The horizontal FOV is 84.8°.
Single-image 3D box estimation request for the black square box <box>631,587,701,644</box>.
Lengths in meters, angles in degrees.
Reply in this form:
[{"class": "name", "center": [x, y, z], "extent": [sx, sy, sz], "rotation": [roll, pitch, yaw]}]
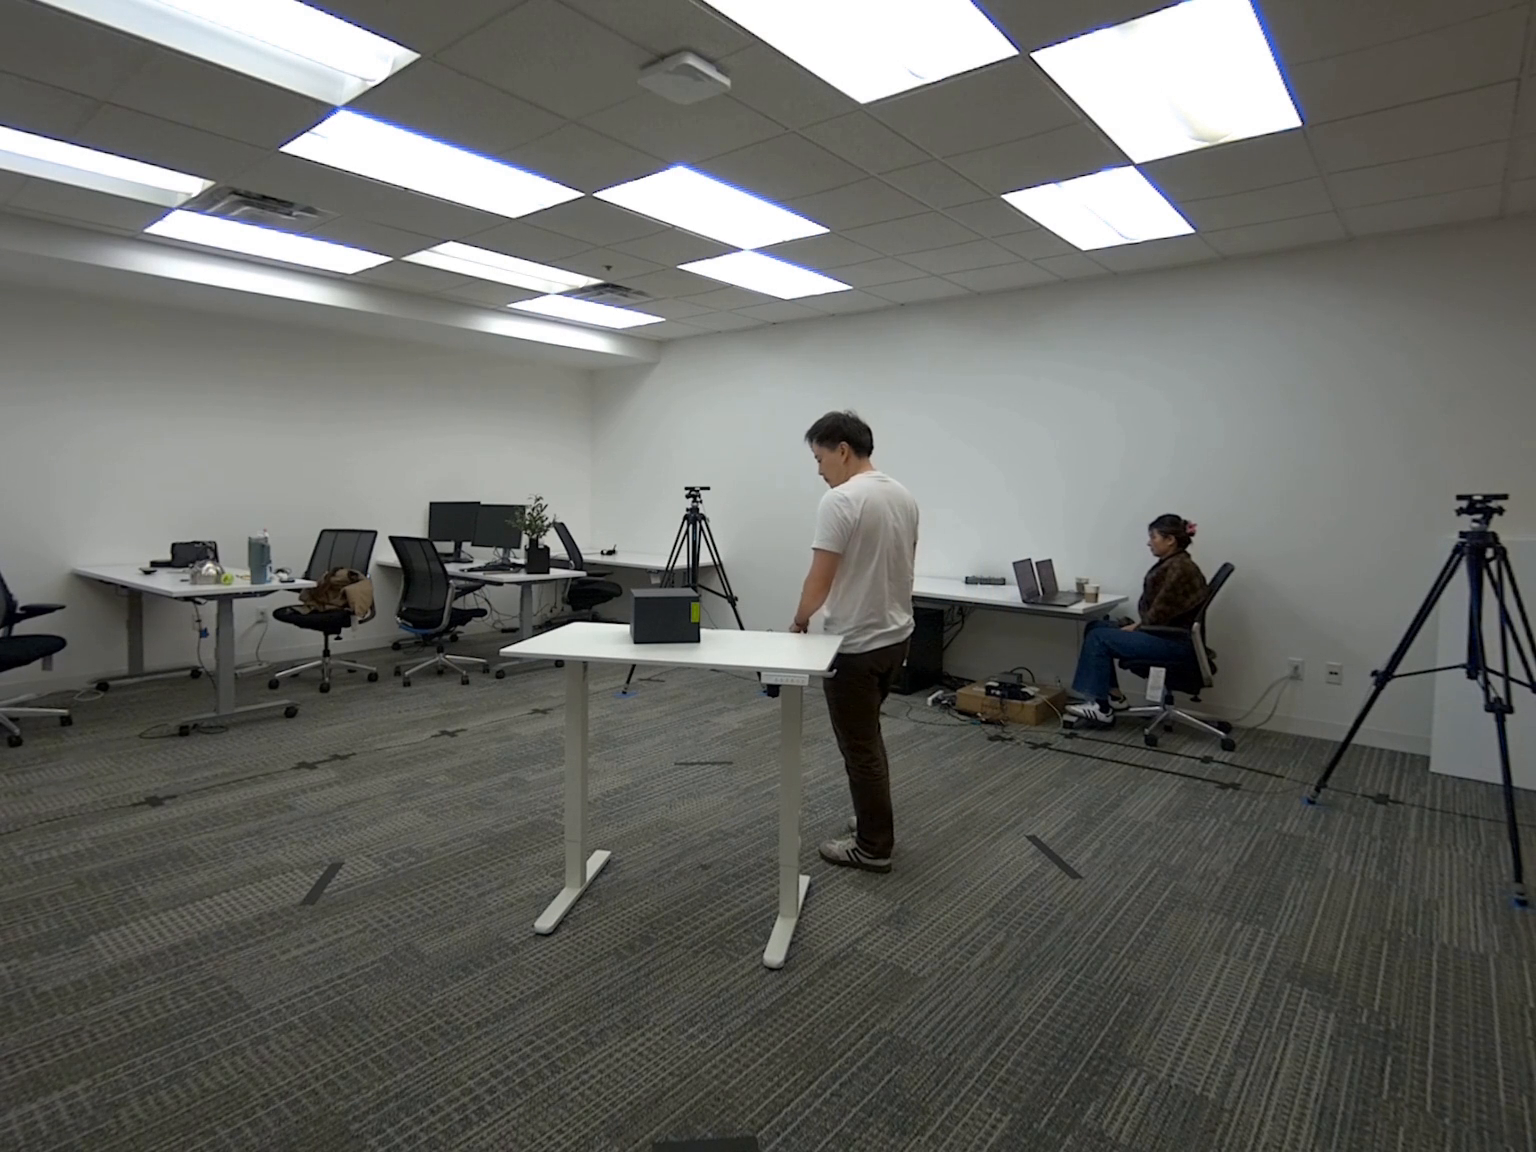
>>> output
[{"class": "black square box", "center": [-0.357, 0.129, 2.870], "extent": [0.215, 0.155, 0.230], "rotation": [-1, 4, -7]}]
